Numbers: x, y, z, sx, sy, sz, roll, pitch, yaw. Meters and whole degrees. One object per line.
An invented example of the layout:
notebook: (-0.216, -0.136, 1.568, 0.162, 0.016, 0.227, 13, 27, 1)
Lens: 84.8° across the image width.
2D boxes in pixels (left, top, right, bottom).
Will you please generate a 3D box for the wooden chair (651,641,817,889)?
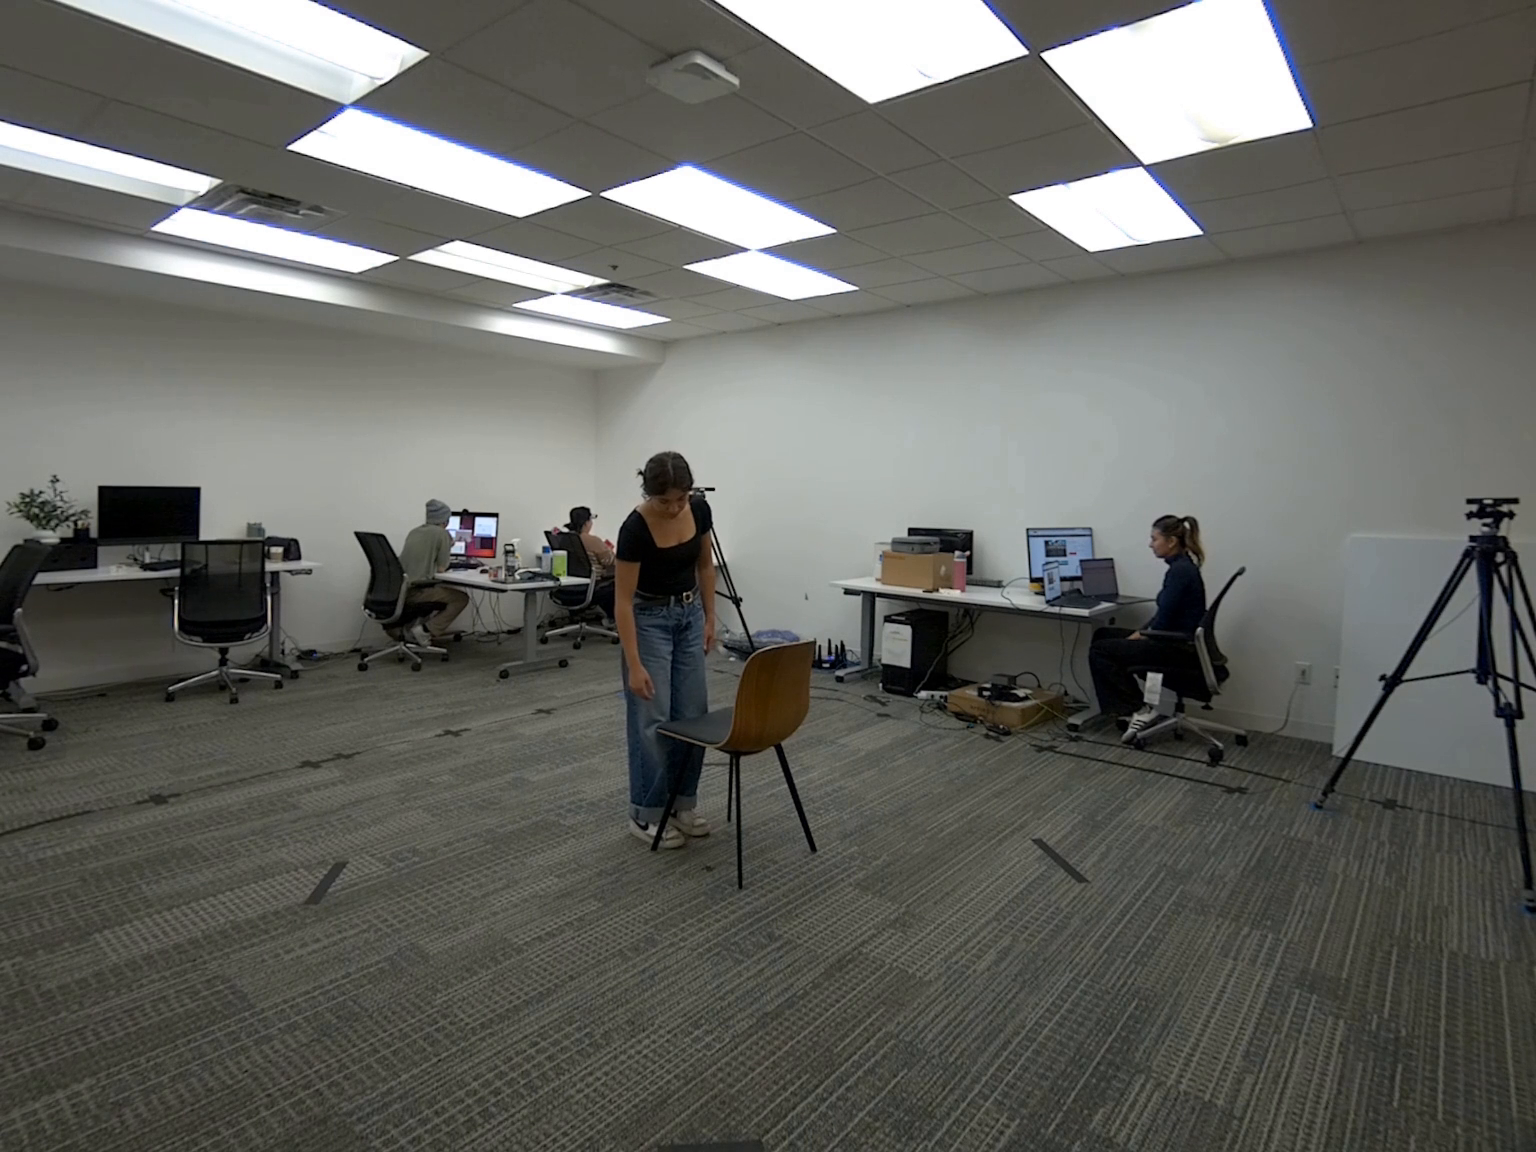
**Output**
wooden chair: (-0.131, 0.631, 3.236, 0.542, 0.873, 0.463, 9, 7, 40)
